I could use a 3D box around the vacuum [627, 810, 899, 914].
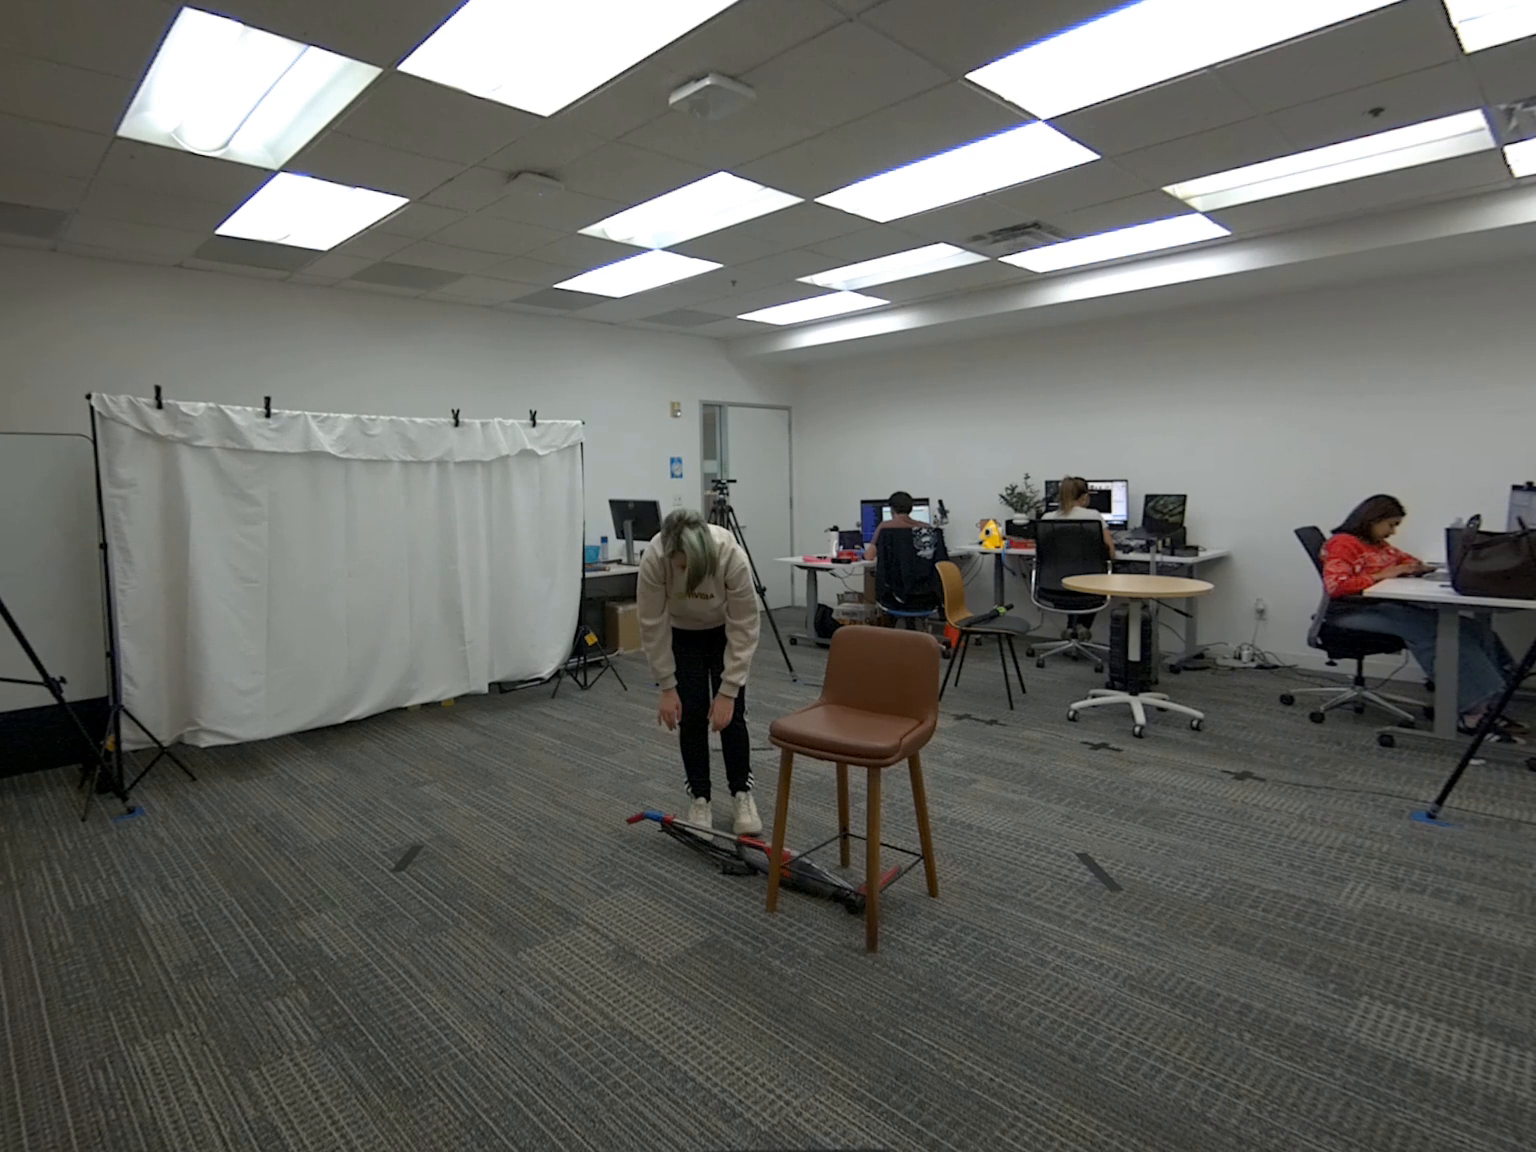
[{"bbox_3d":[-0.104,1.002,3.062,1.079,0.143,0.246,3,6,35],"label":"vacuum"}]
